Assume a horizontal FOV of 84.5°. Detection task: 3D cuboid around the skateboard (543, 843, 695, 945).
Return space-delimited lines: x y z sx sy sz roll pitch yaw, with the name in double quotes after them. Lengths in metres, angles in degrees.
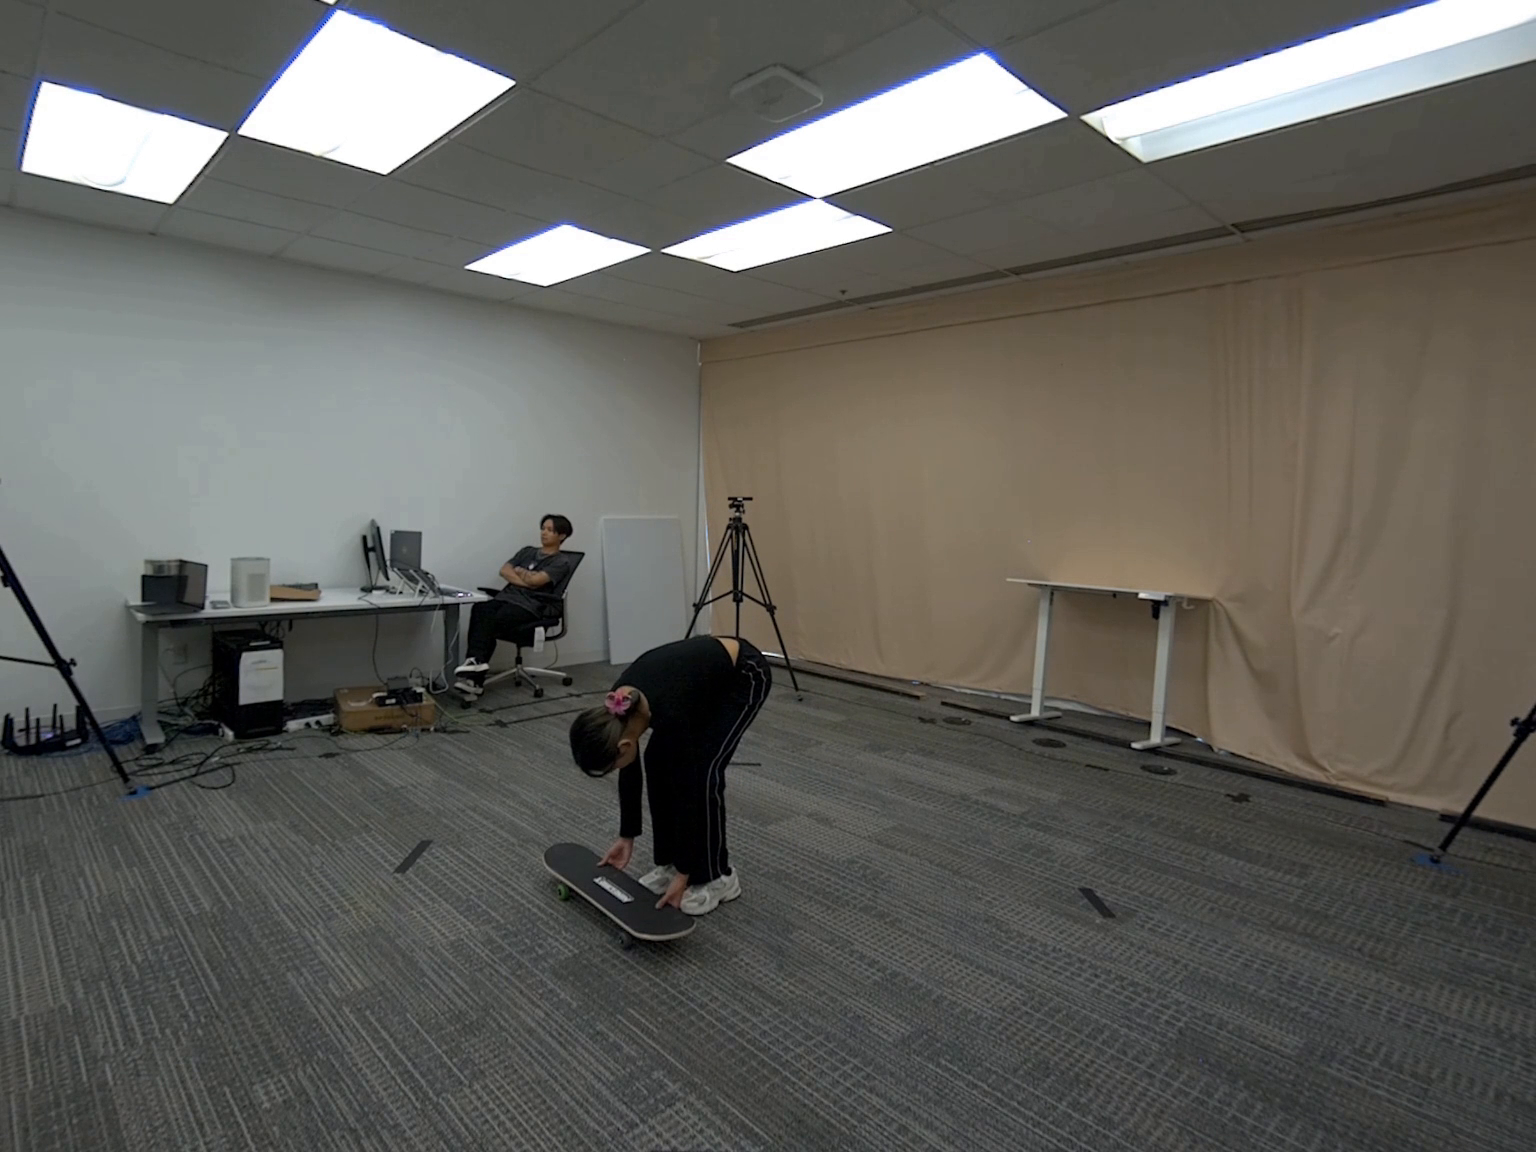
-0.529 1.074 2.787 0.189 0.110 0.806 -3 7 -41 "skateboard"
